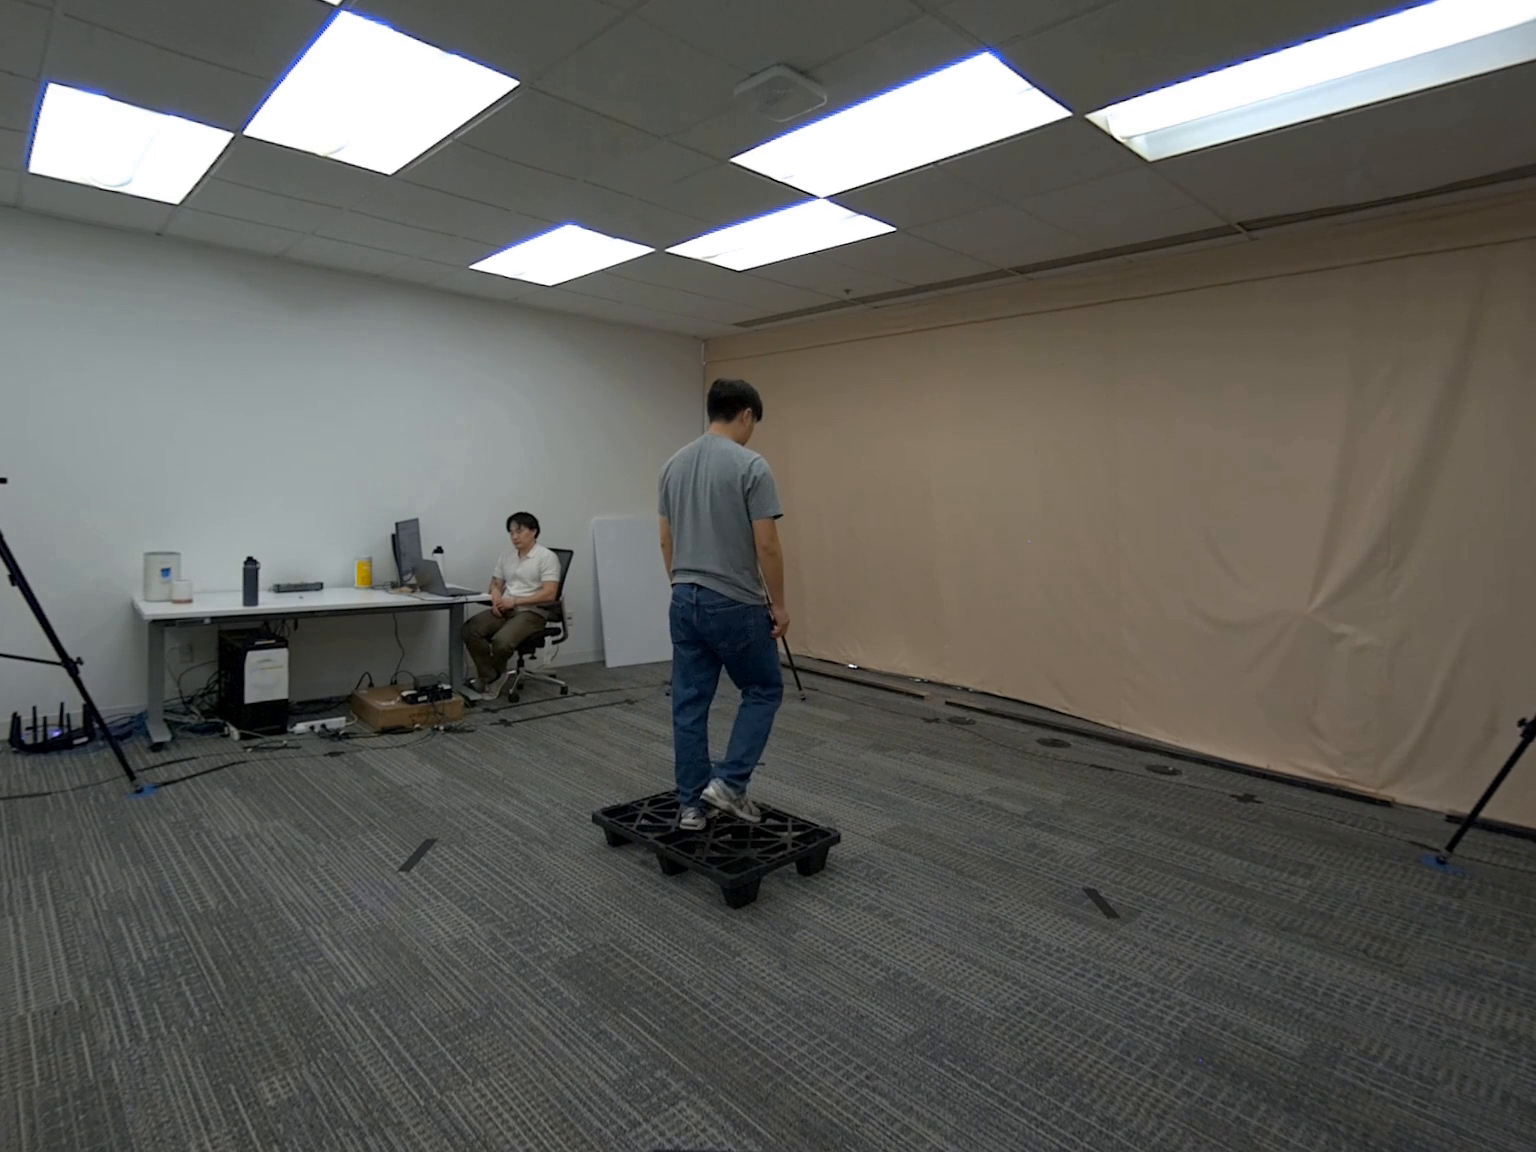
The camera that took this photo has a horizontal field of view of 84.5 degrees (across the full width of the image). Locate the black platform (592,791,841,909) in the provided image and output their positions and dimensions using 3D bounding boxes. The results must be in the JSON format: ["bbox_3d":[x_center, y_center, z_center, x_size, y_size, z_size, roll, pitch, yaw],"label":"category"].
[{"bbox_3d":[-0.217,1.021,3.268,0.826,0.143,0.591,6,7,44],"label":"black platform"}]
